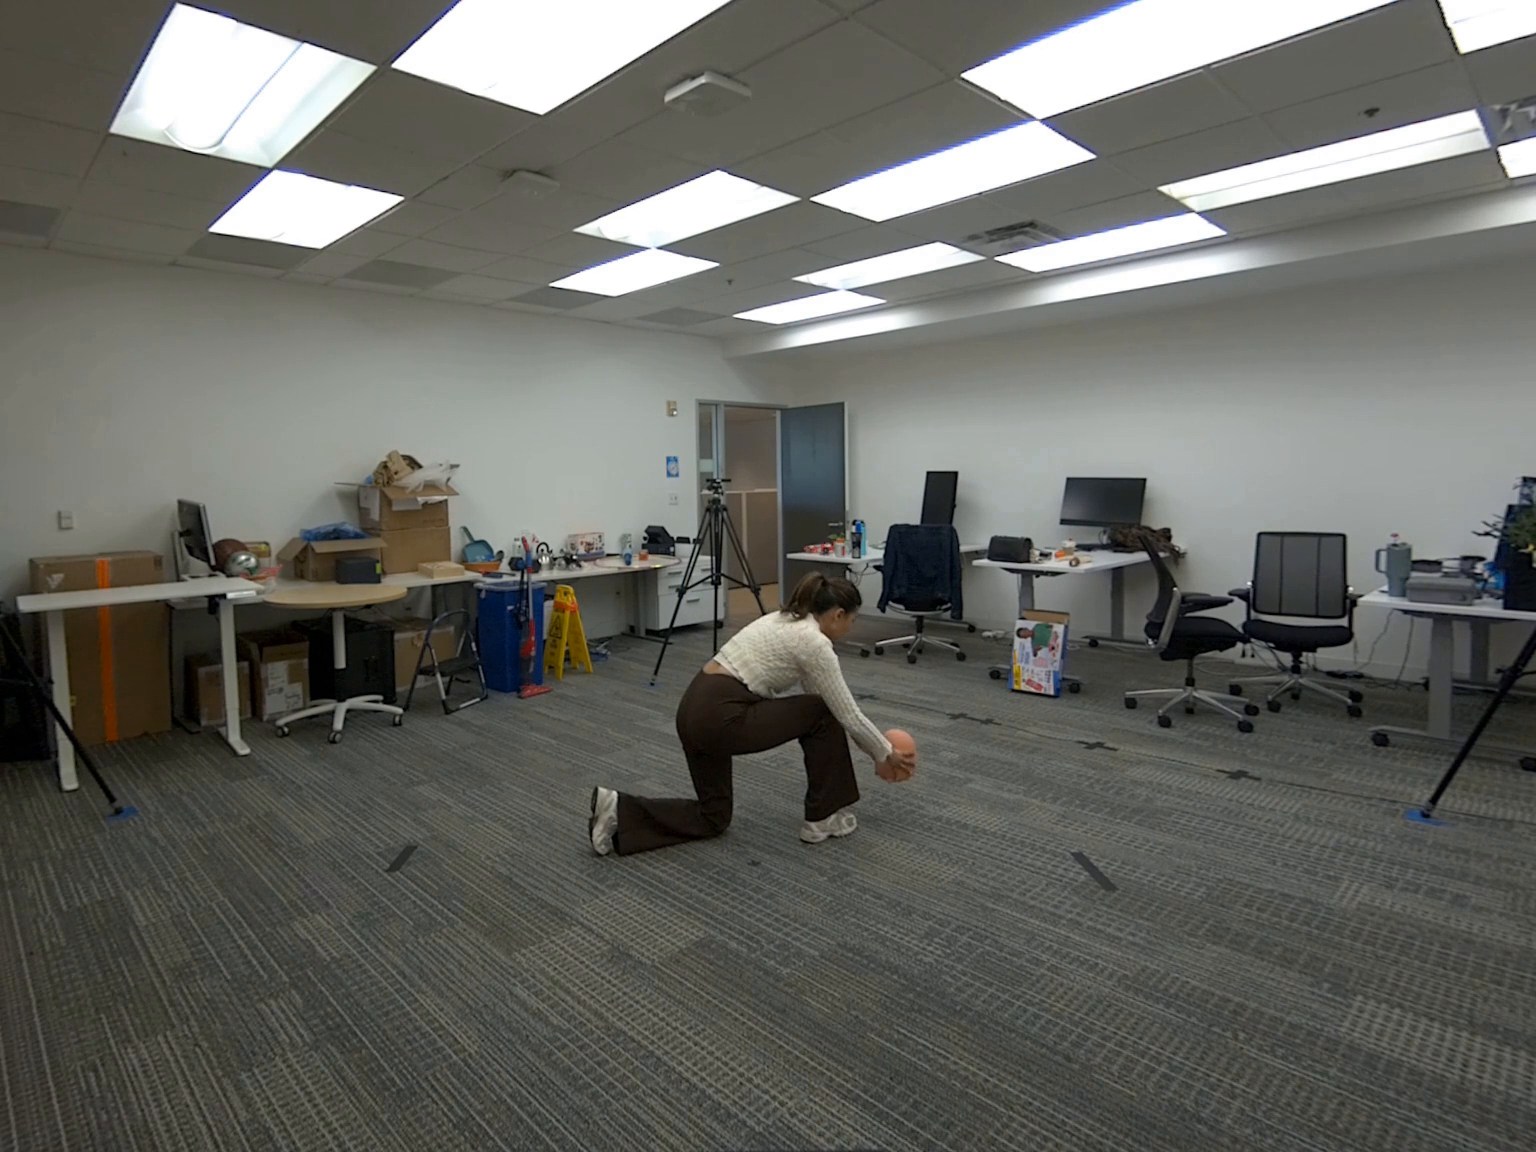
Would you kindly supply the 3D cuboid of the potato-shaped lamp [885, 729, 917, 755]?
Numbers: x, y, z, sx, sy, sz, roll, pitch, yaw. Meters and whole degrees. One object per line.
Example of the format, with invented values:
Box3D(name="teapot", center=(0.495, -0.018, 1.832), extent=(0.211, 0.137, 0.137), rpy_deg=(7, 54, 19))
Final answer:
Box3D(name="potato-shaped lamp", center=(0.518, 0.719, 3.486), extent=(0.171, 0.198, 0.165), rpy_deg=(-6, -1, -4))
